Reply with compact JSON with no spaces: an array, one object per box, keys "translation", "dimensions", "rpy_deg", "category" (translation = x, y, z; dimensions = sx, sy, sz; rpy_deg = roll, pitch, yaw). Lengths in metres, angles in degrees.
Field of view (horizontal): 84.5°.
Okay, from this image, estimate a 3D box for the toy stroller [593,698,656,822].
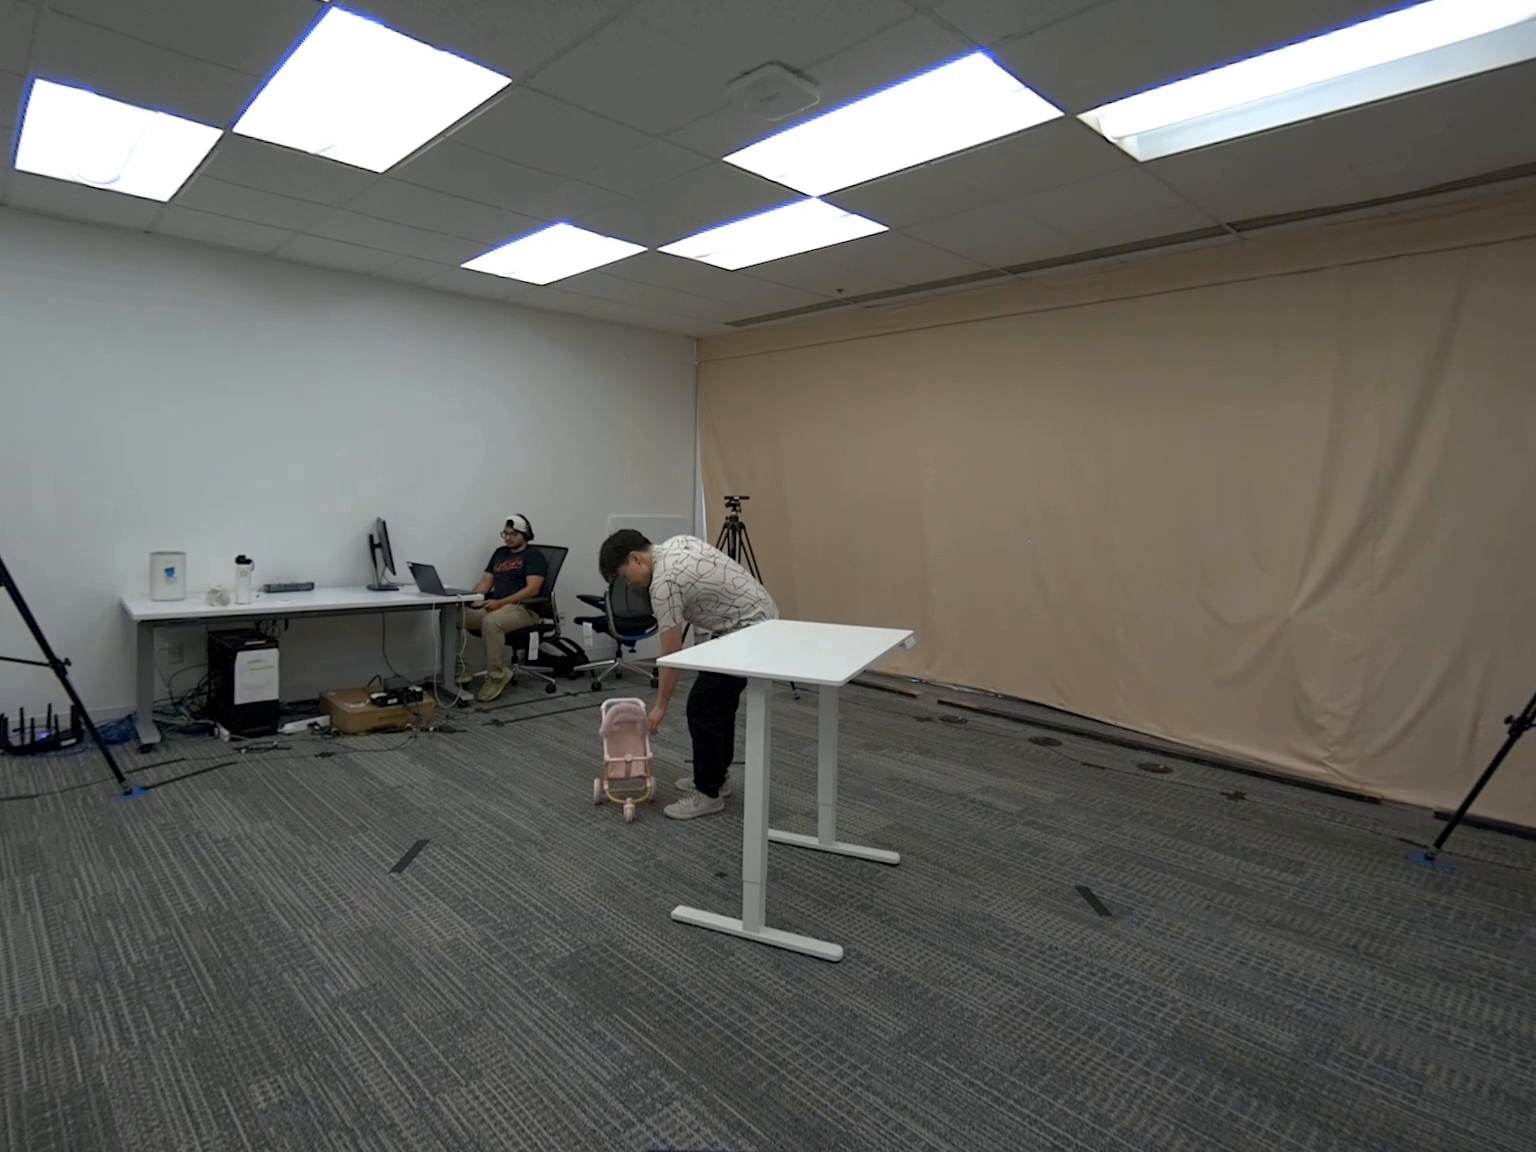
[{"translation":[-0.642,0.805,3.757],"dimensions":[0.279,0.540,0.341],"rpy_deg":[0,-12,-10],"category":"toy stroller"}]
